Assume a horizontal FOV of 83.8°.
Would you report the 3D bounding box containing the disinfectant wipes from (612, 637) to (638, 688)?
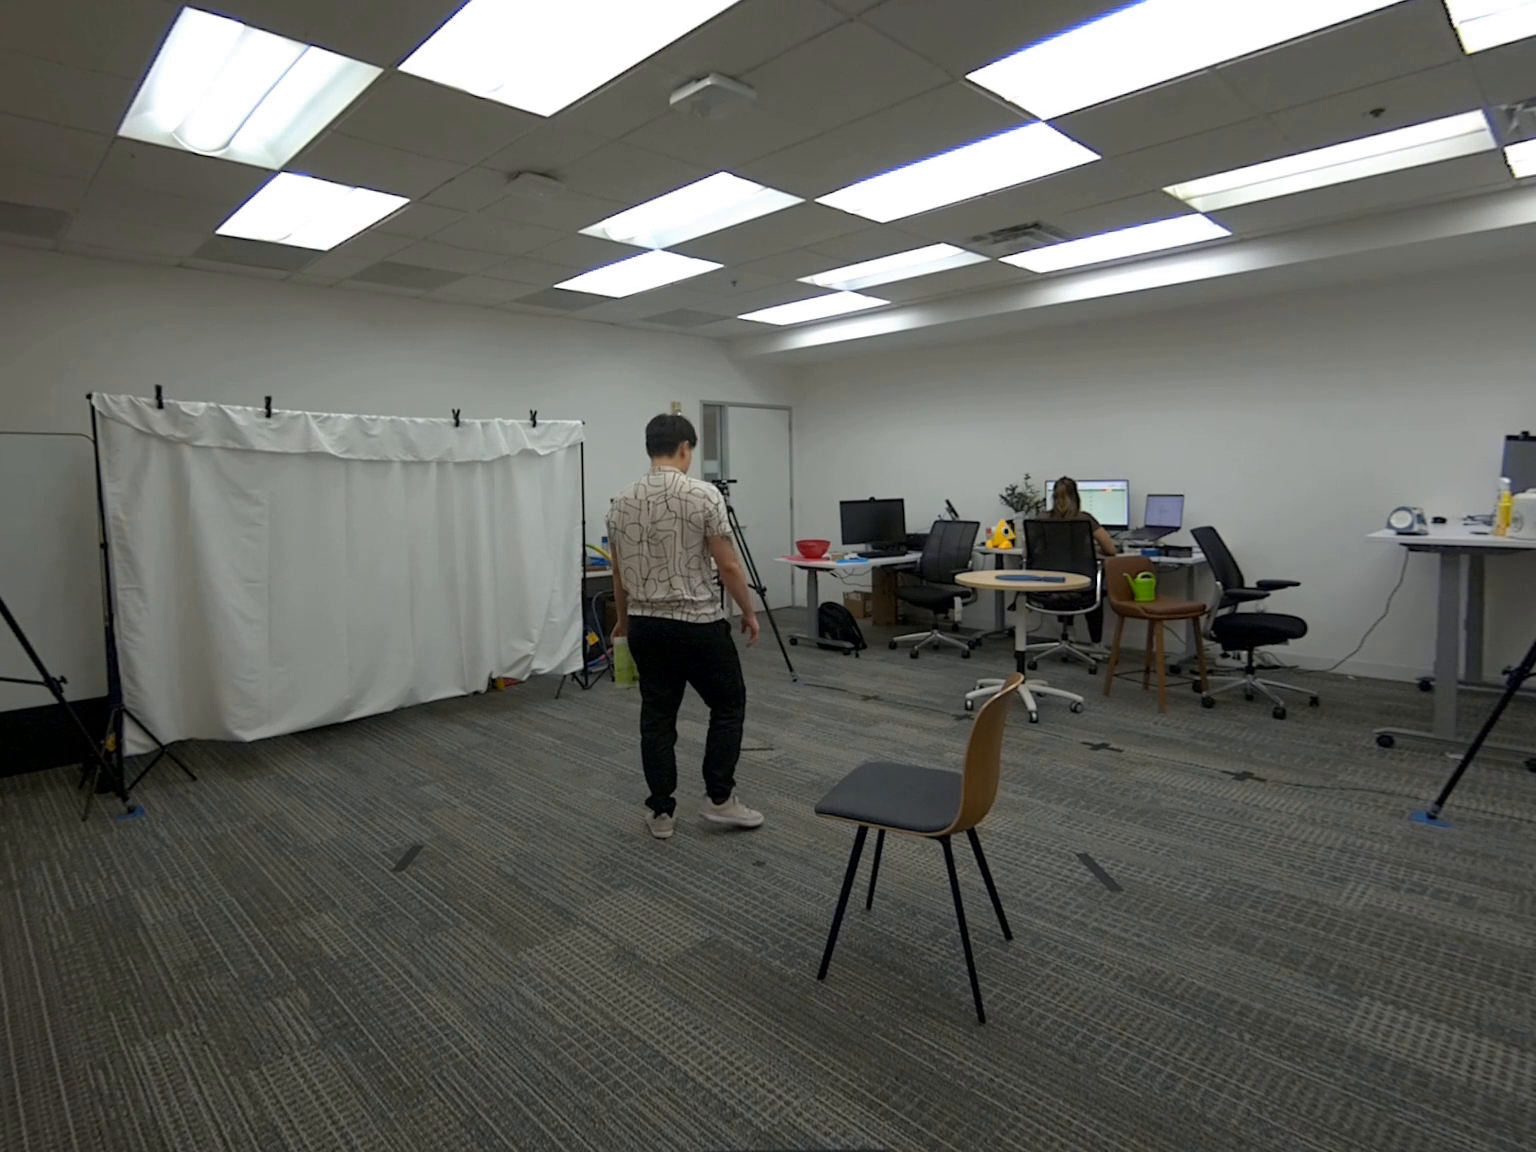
[{"bbox_3d":[-0.590,0.363,3.604,0.118,0.218,0.118,-3,-1,-2],"label":"disinfectant wipes"}]
